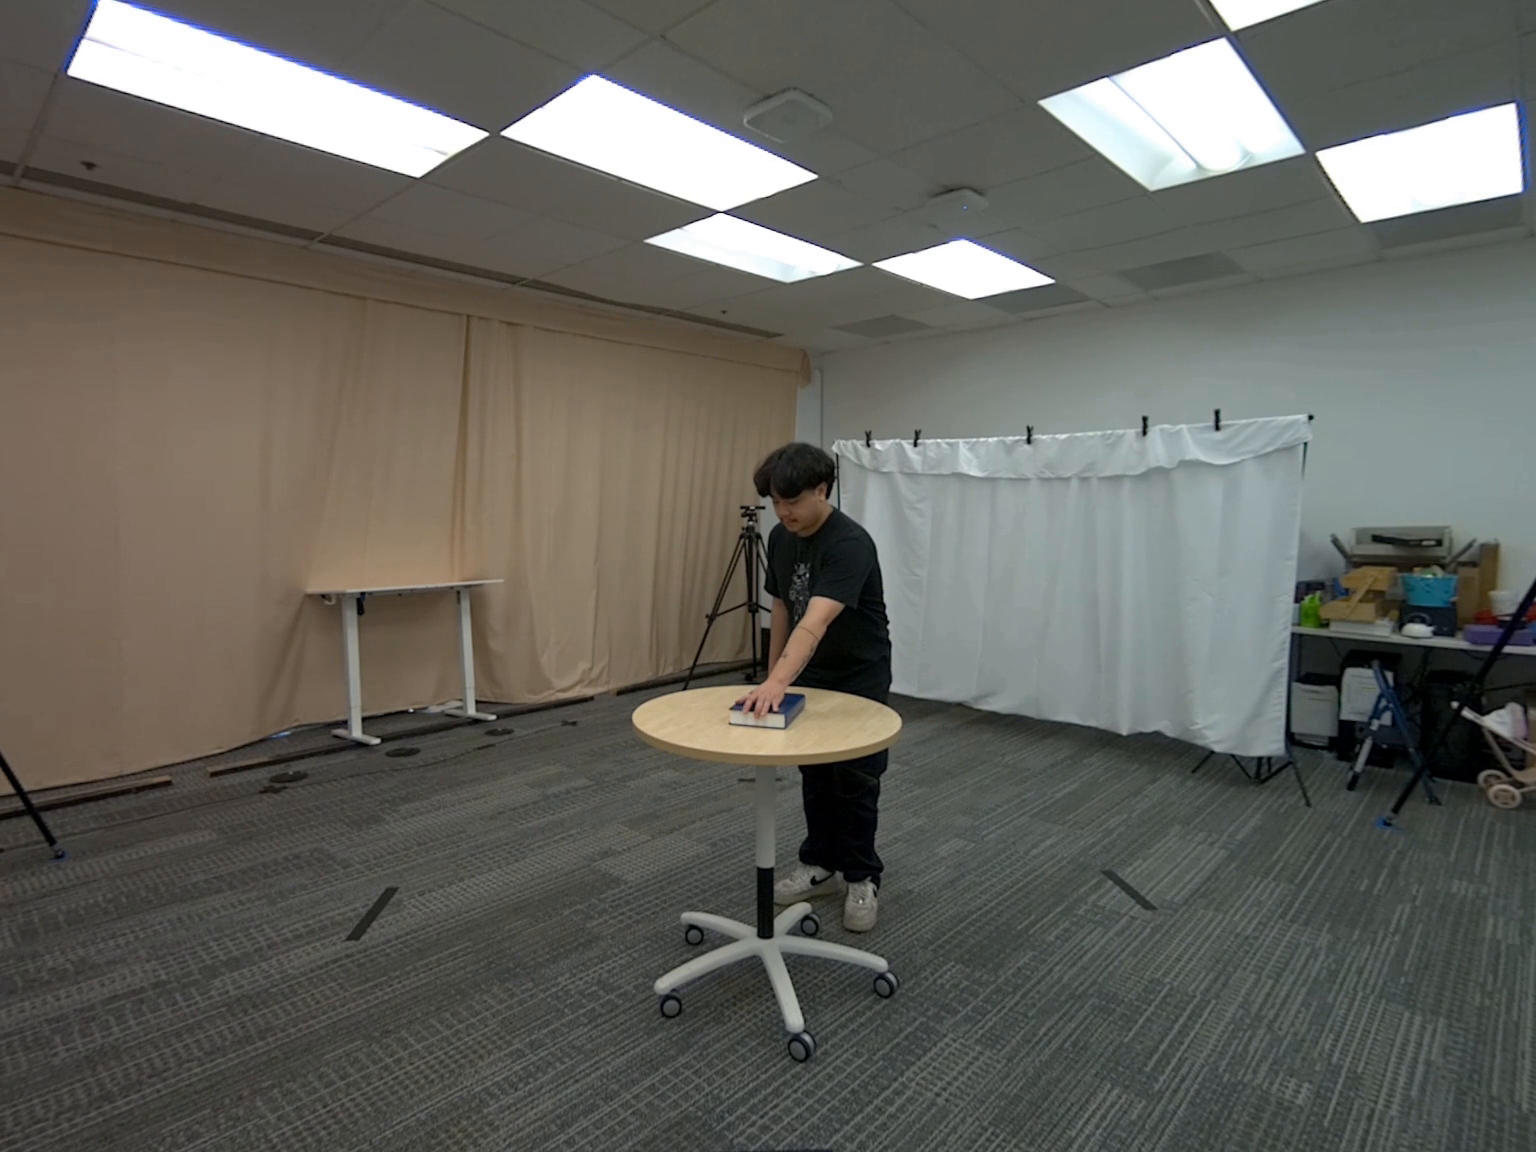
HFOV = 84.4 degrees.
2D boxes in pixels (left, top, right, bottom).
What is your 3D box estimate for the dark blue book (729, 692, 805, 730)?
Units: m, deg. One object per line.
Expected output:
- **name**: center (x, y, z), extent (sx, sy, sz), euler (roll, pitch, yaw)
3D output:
- **dark blue book**: center (-0.001, 0.382, 2.394), extent (0.166, 0.045, 0.241), euler (2, 6, 15)
